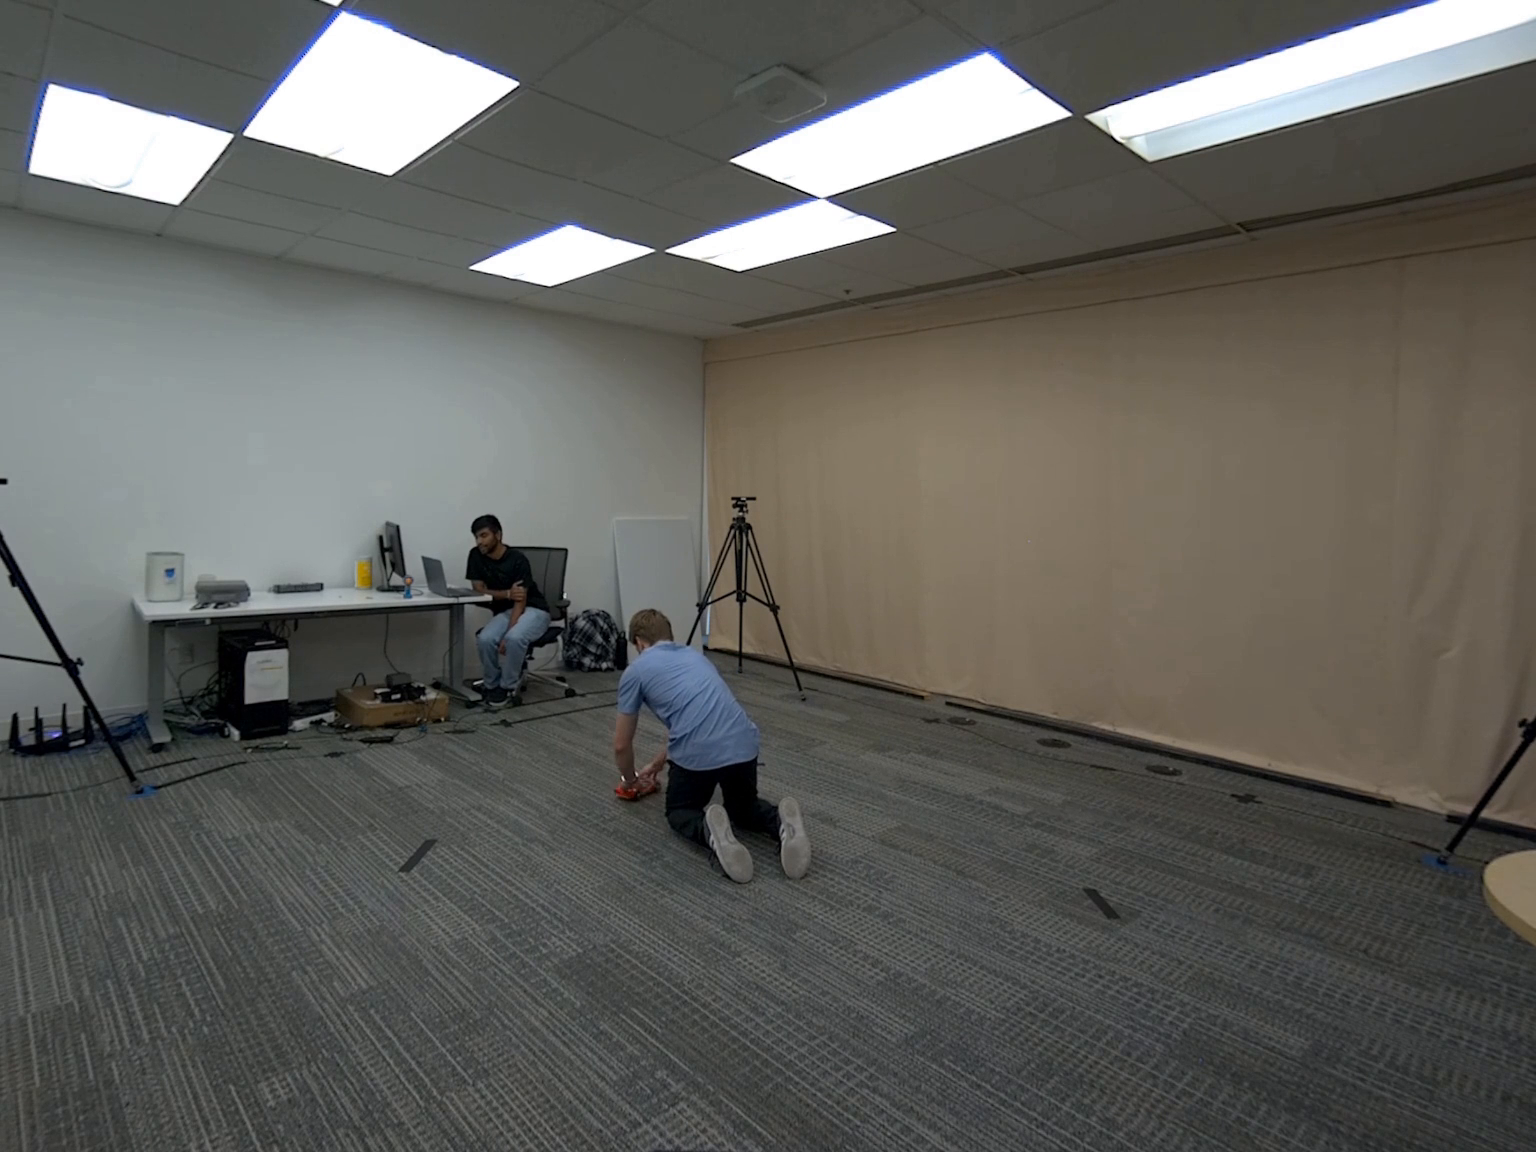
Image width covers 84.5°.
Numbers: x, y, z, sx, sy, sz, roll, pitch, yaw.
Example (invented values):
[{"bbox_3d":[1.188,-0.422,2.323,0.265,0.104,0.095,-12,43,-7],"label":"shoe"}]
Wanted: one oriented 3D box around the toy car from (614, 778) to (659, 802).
[{"bbox_3d":[-0.619,0.992,3.922,0.133,0.083,0.247,2,-8,32],"label":"toy car"}]
